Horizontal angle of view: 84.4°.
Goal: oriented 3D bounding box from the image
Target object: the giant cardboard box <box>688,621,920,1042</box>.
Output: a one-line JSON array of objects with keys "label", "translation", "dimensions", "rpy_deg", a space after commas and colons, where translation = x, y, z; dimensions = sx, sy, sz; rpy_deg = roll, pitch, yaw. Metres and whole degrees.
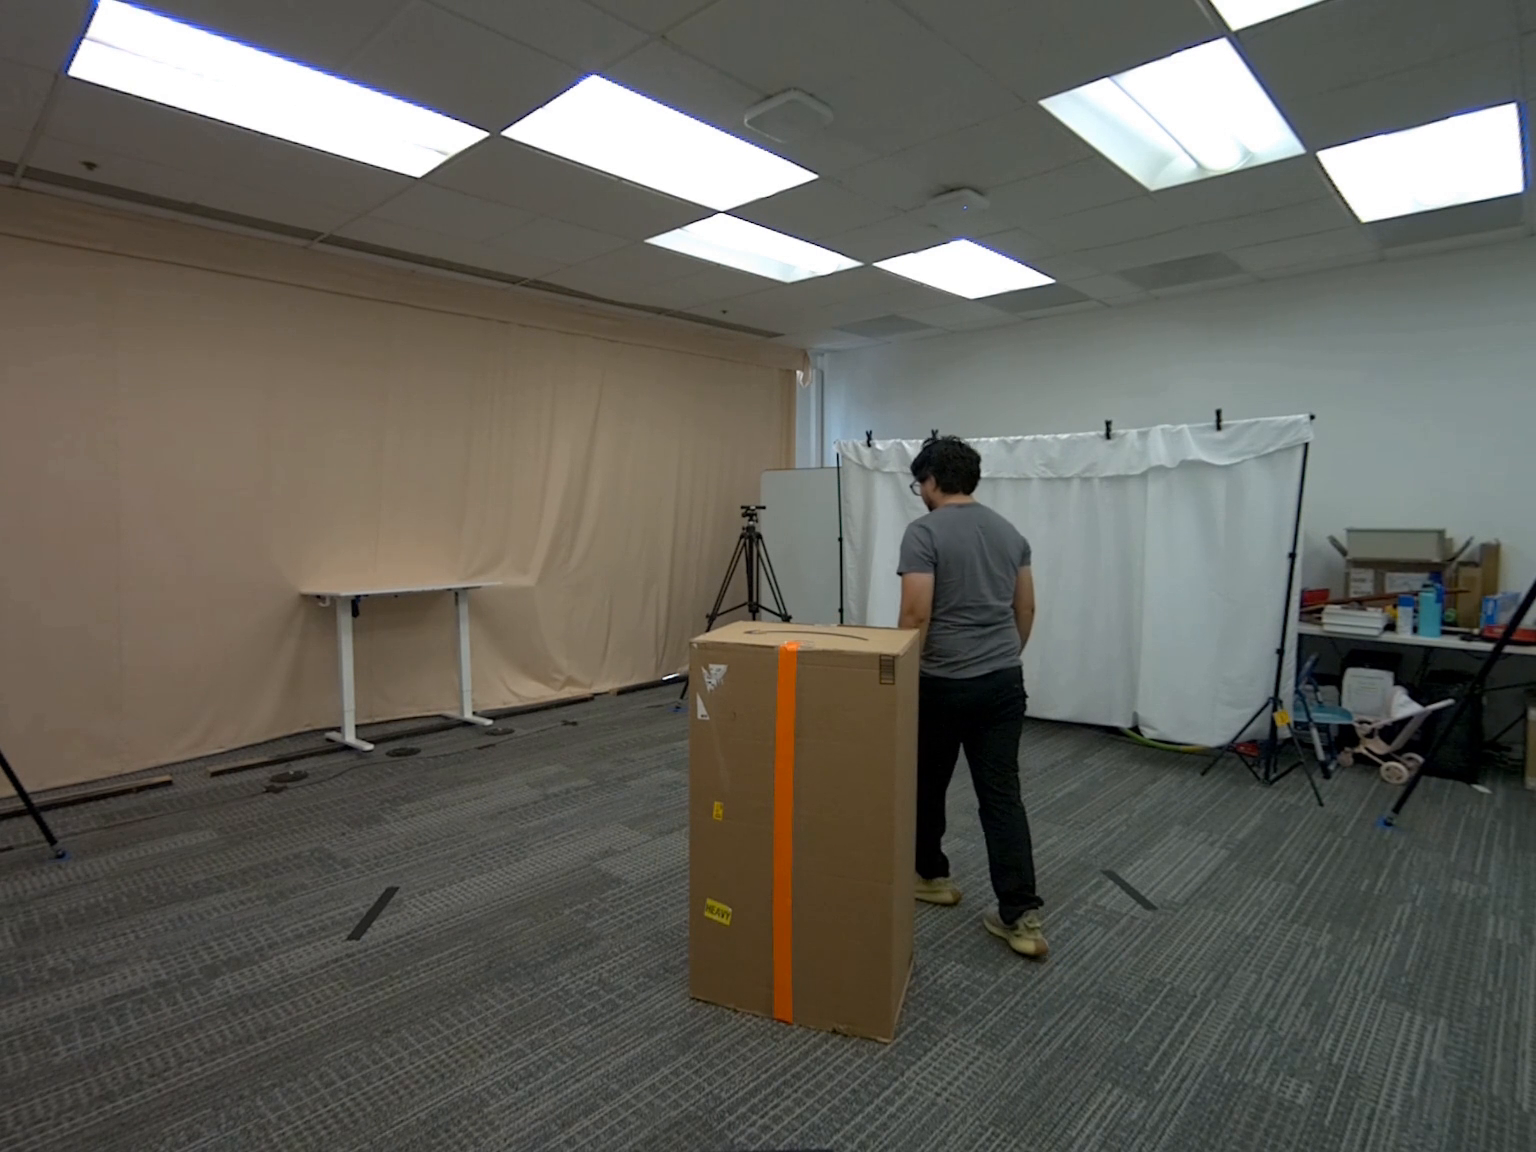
[{"label": "giant cardboard box", "translation": [0.114, 0.682, 2.441], "dimensions": [0.596, 1.025, 0.438], "rpy_deg": [2, 3, 20]}]
